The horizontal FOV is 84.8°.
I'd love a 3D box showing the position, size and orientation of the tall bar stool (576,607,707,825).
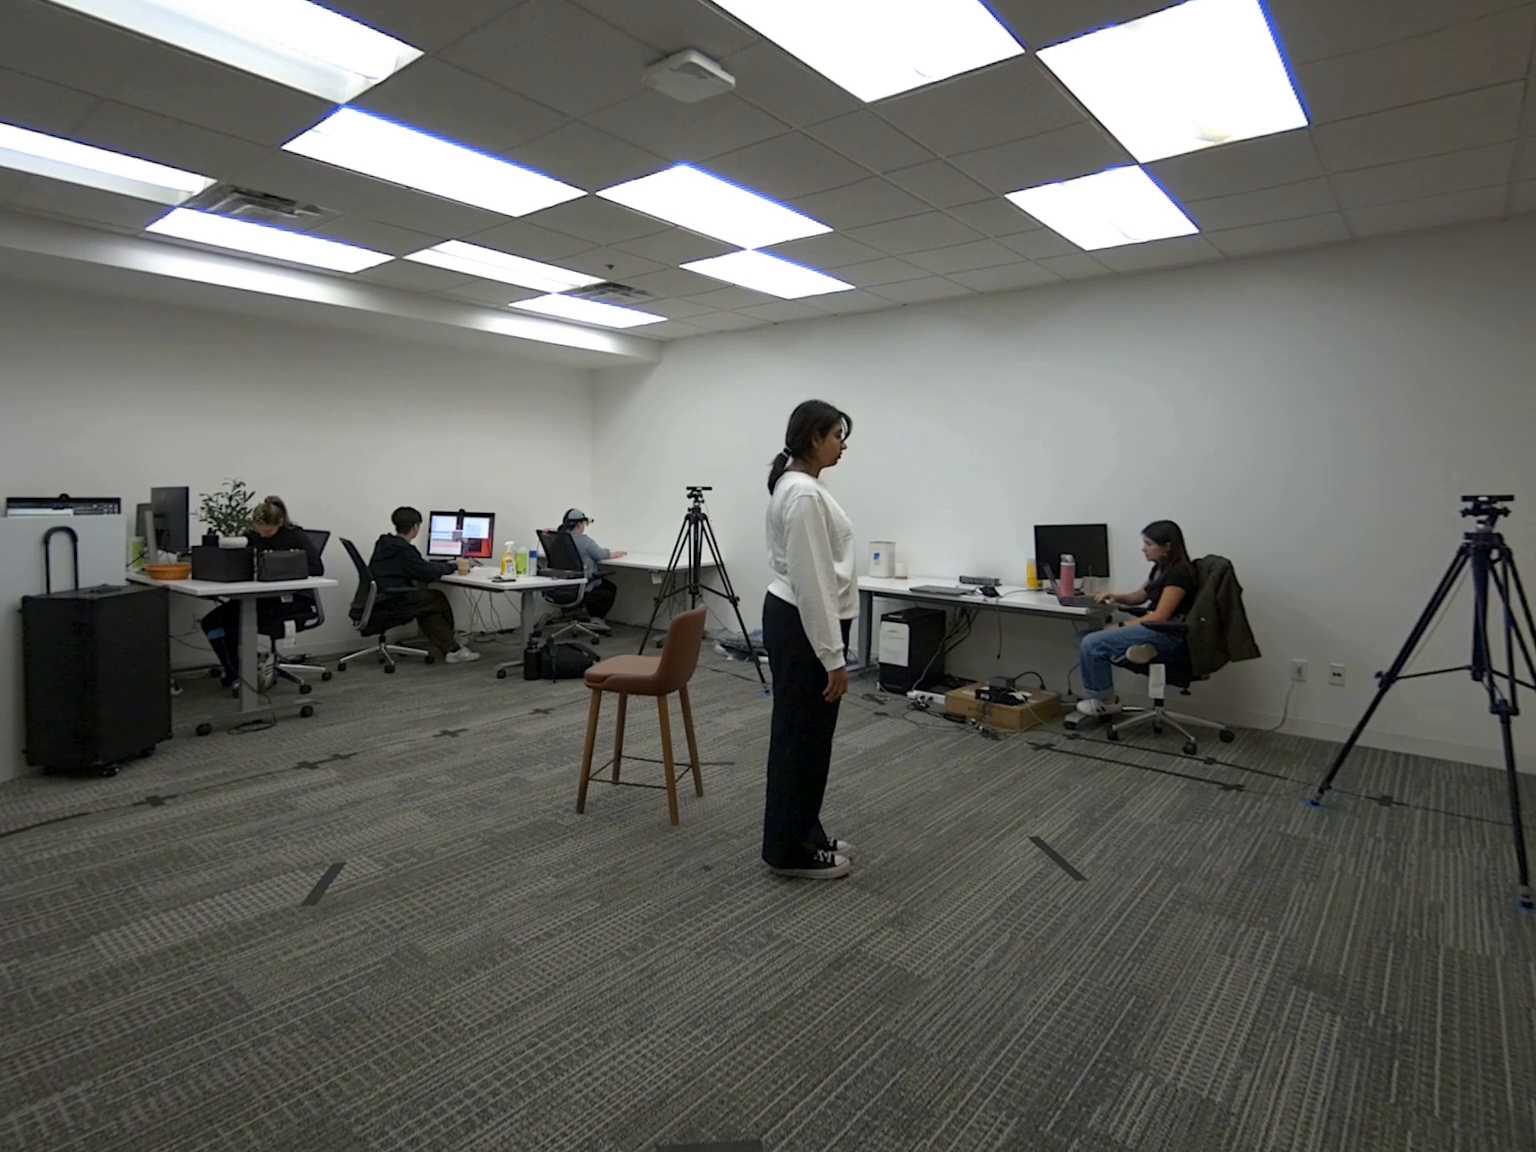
[{"bbox_3d":[-0.544,0.566,3.721,0.477,0.887,0.449,3,4,17],"label":"tall bar stool"}]
